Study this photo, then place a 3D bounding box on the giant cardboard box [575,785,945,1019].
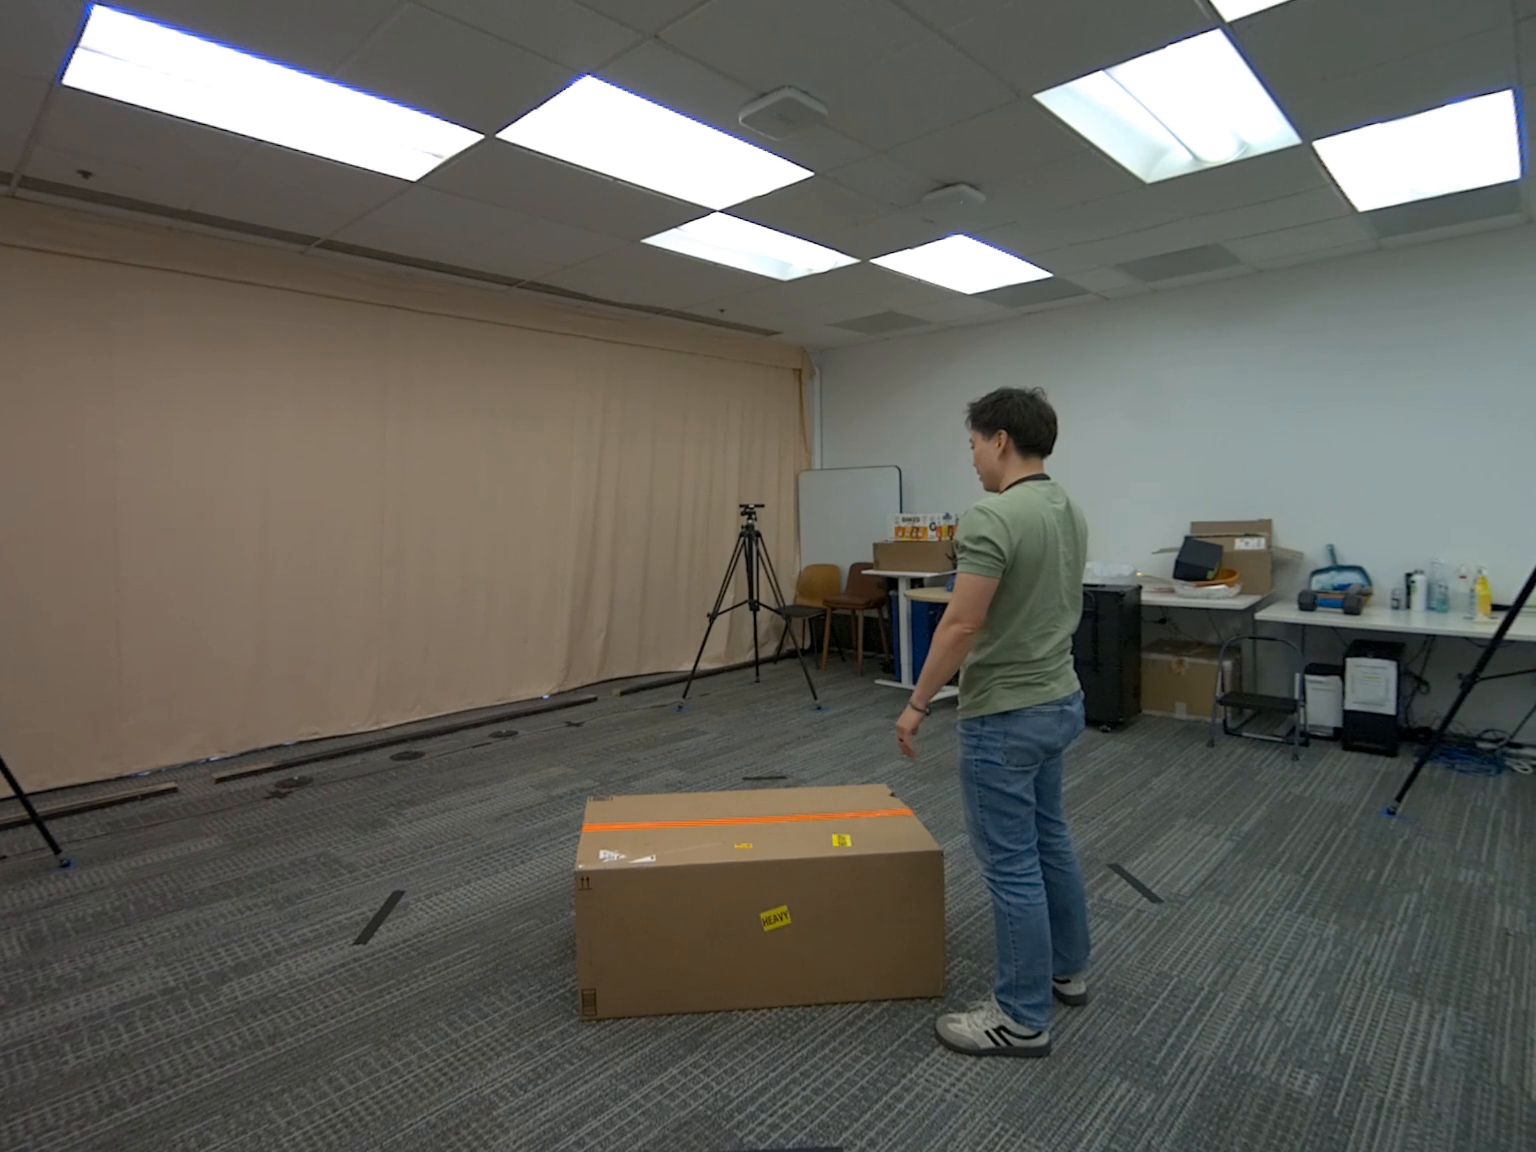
[{"bbox_3d":[-0.055,0.958,2.595,1.020,0.425,0.582,-1,5,-6],"label":"giant cardboard box"}]
